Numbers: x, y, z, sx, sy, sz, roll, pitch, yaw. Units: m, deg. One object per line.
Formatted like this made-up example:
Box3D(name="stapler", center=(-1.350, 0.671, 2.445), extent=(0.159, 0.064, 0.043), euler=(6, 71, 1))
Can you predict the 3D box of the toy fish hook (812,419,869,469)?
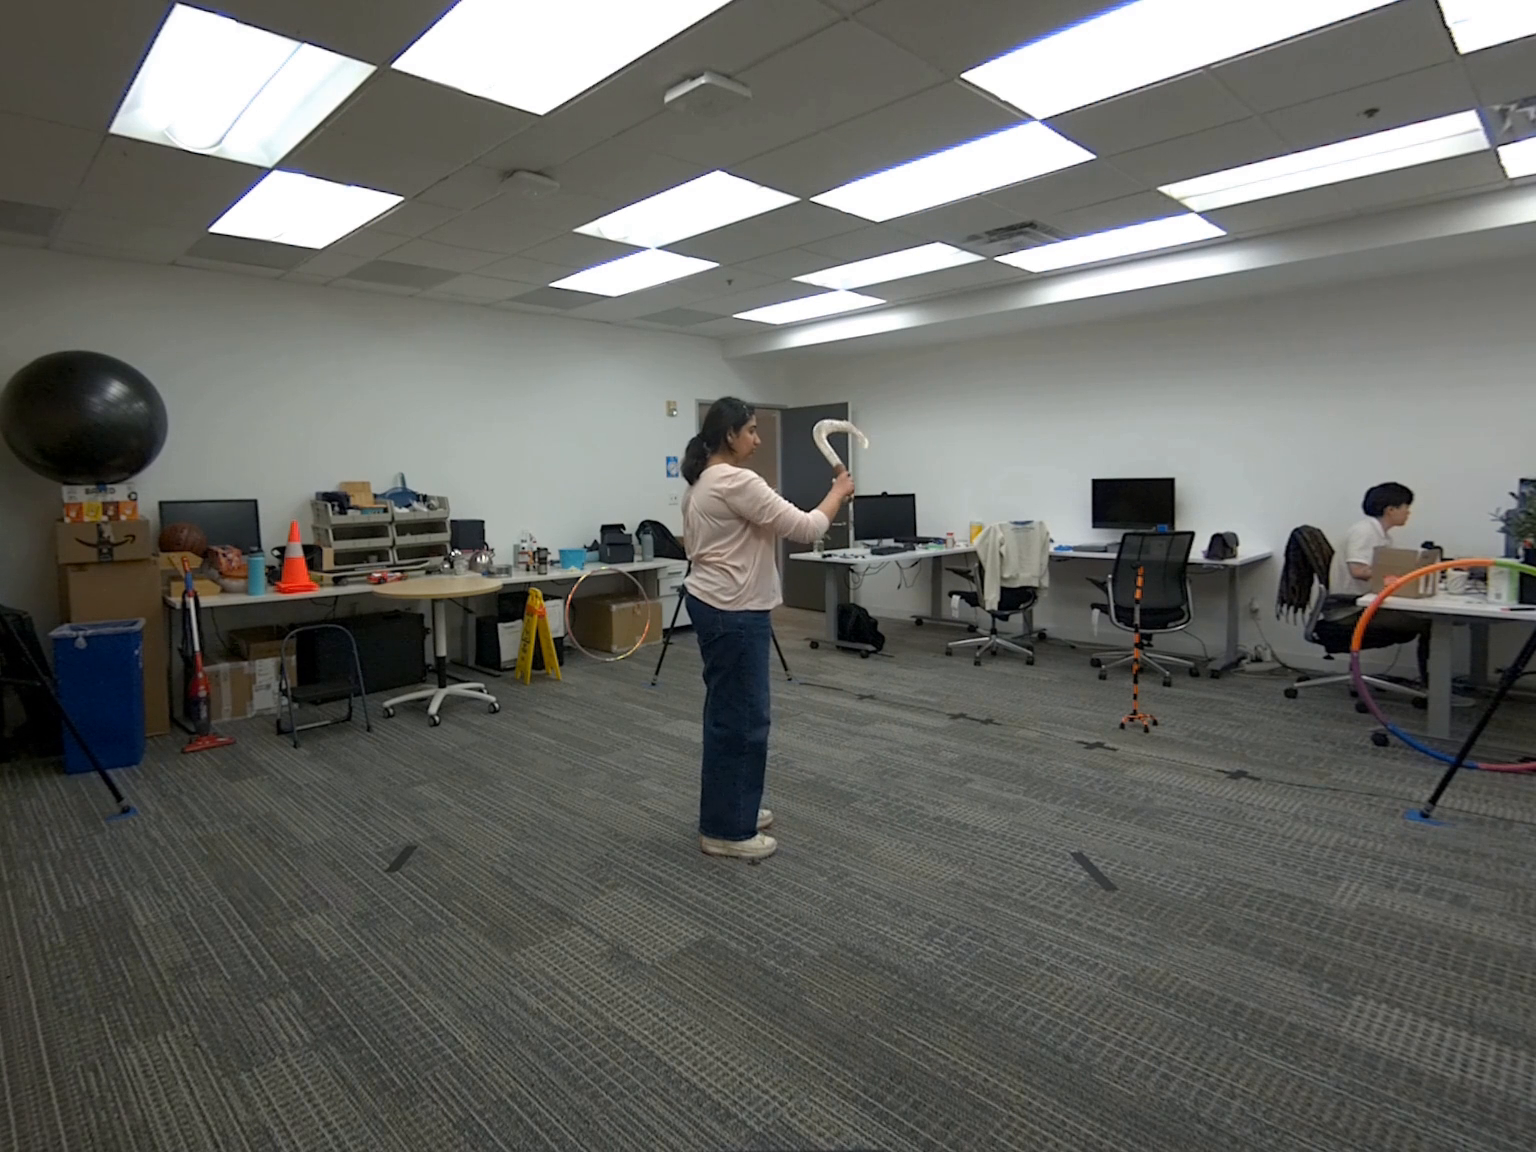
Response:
Box3D(name="toy fish hook", center=(0.333, -0.458, 3.424), extent=(0.223, 0.047, 0.522), euler=(-1, 47, -7))
